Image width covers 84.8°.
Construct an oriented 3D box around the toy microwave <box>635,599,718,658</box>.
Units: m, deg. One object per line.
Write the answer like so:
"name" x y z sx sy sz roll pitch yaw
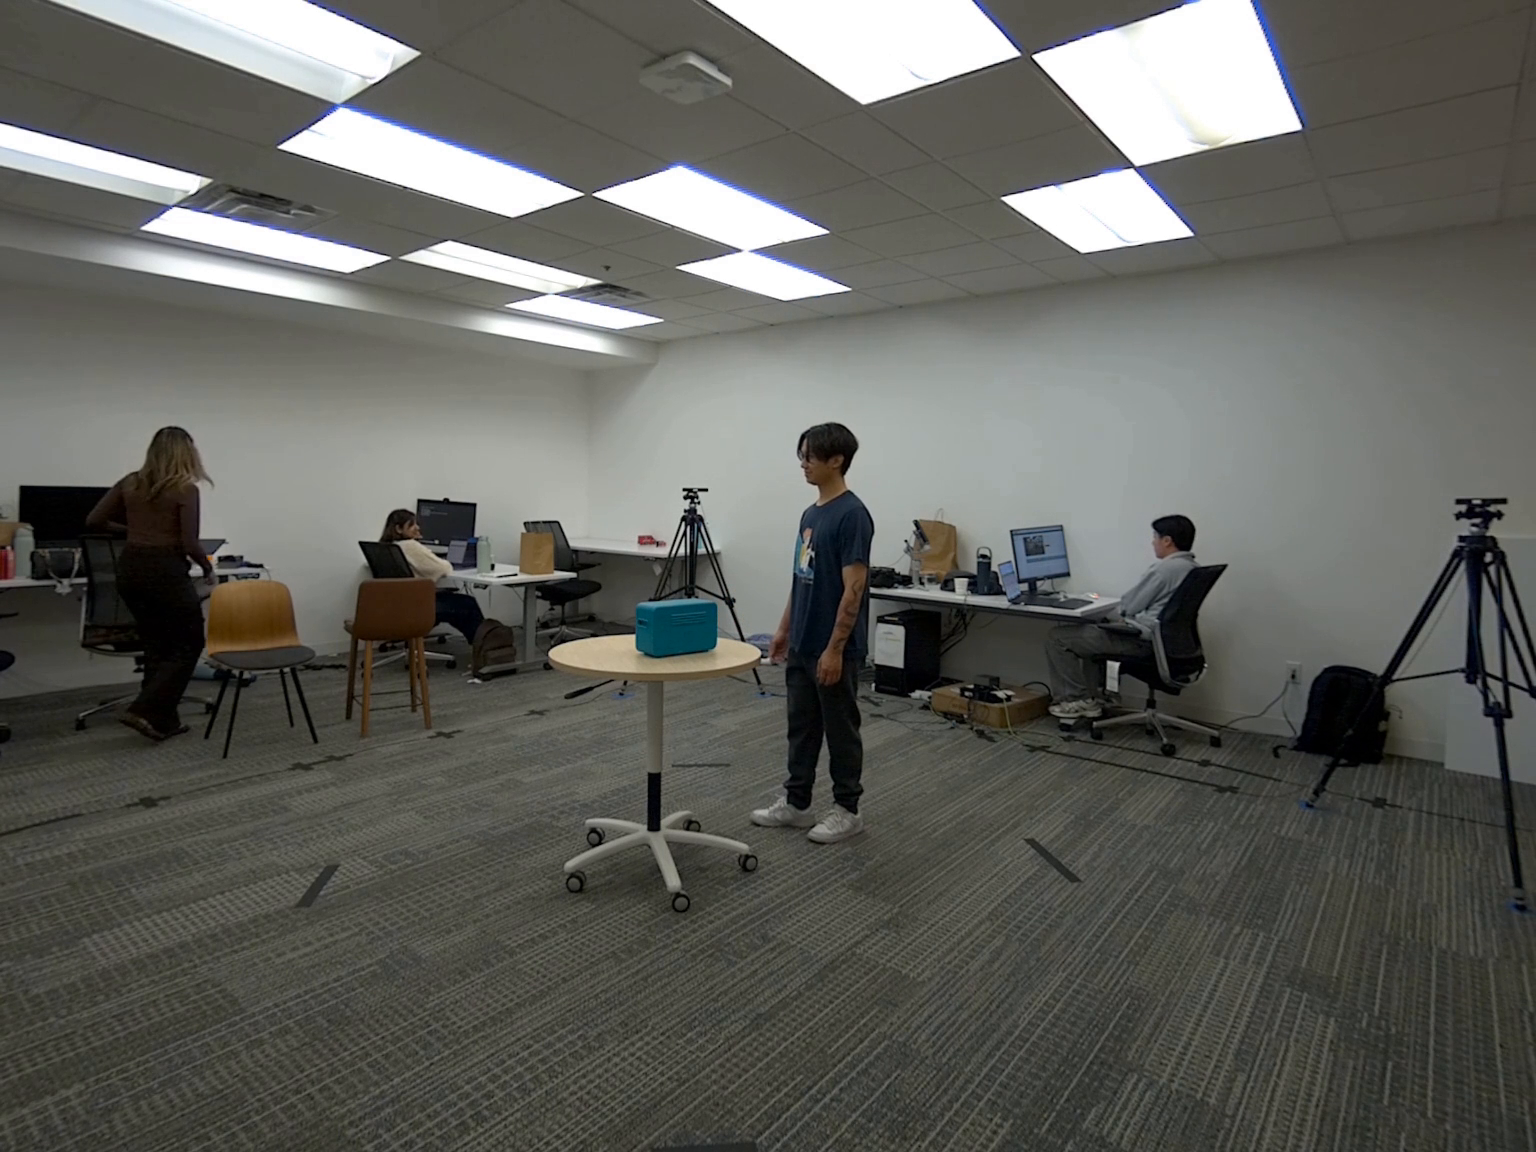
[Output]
"toy microwave" -0.344 0.181 3.065 0.278 0.183 0.157 -3 5 -38
